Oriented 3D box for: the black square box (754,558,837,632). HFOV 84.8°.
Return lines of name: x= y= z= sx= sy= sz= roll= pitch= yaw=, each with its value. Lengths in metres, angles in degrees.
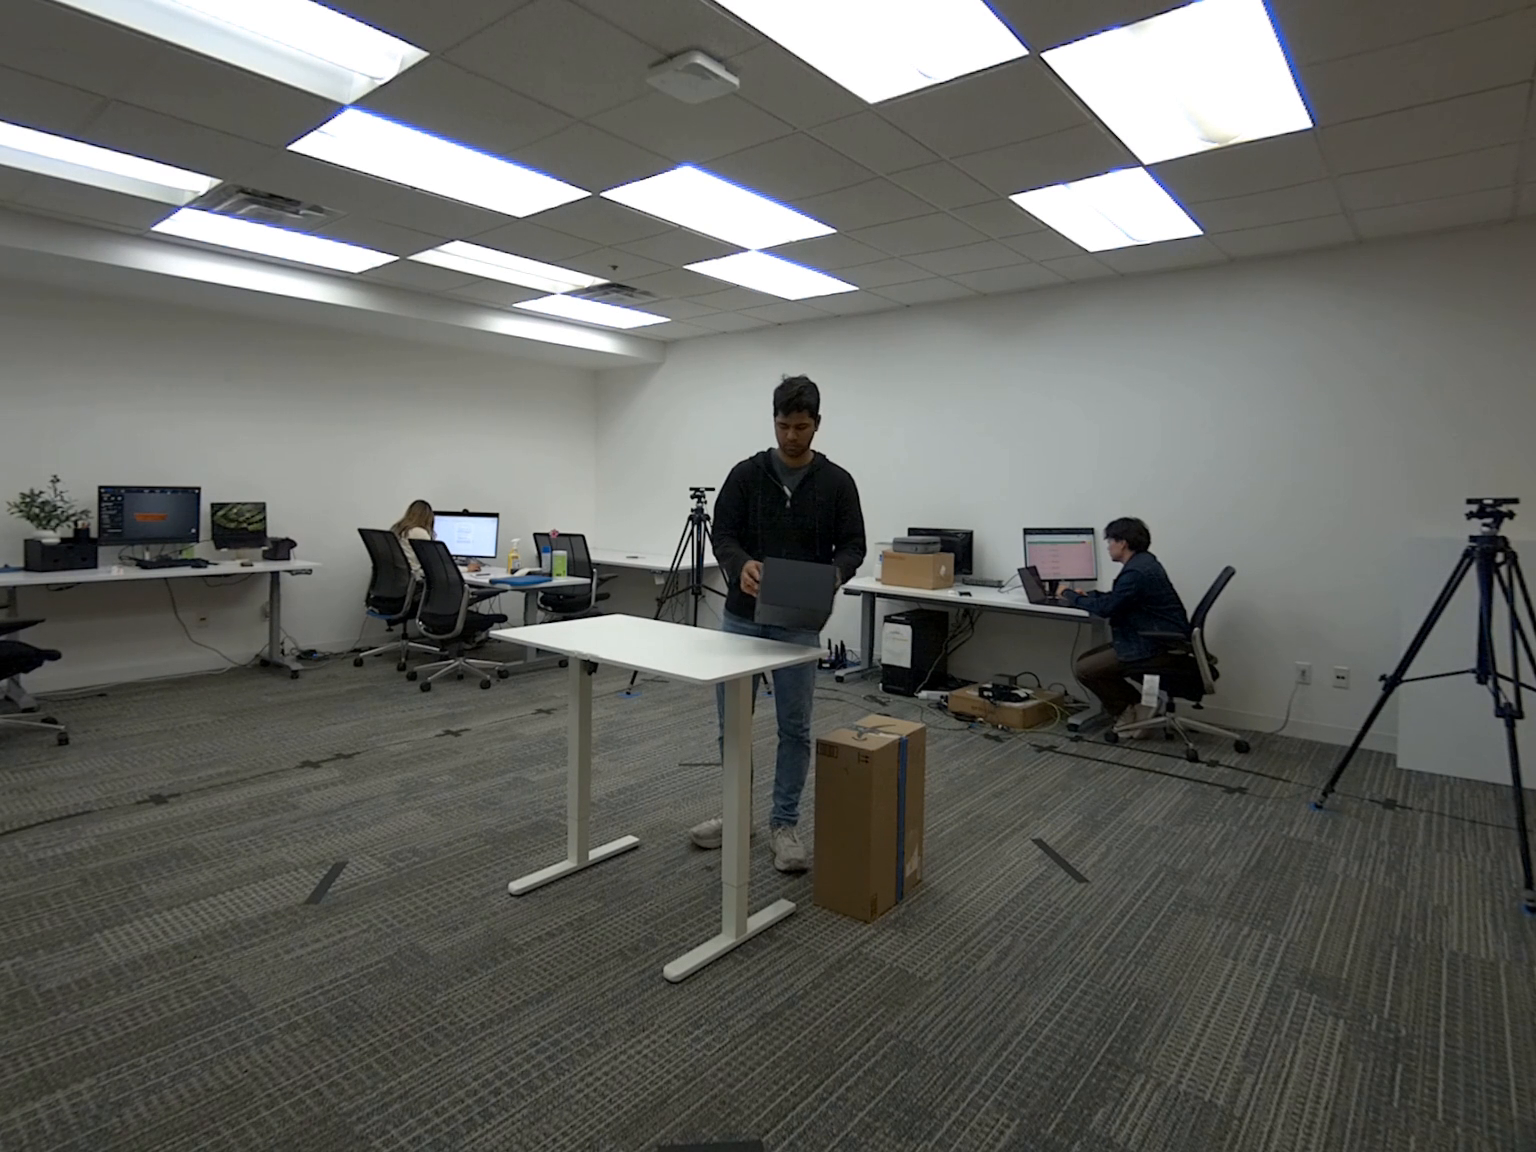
black square box: x=0.076 y=0.056 z=2.731 sx=0.228 sy=0.158 sz=0.214 roll=4 pitch=-16 yaw=0
